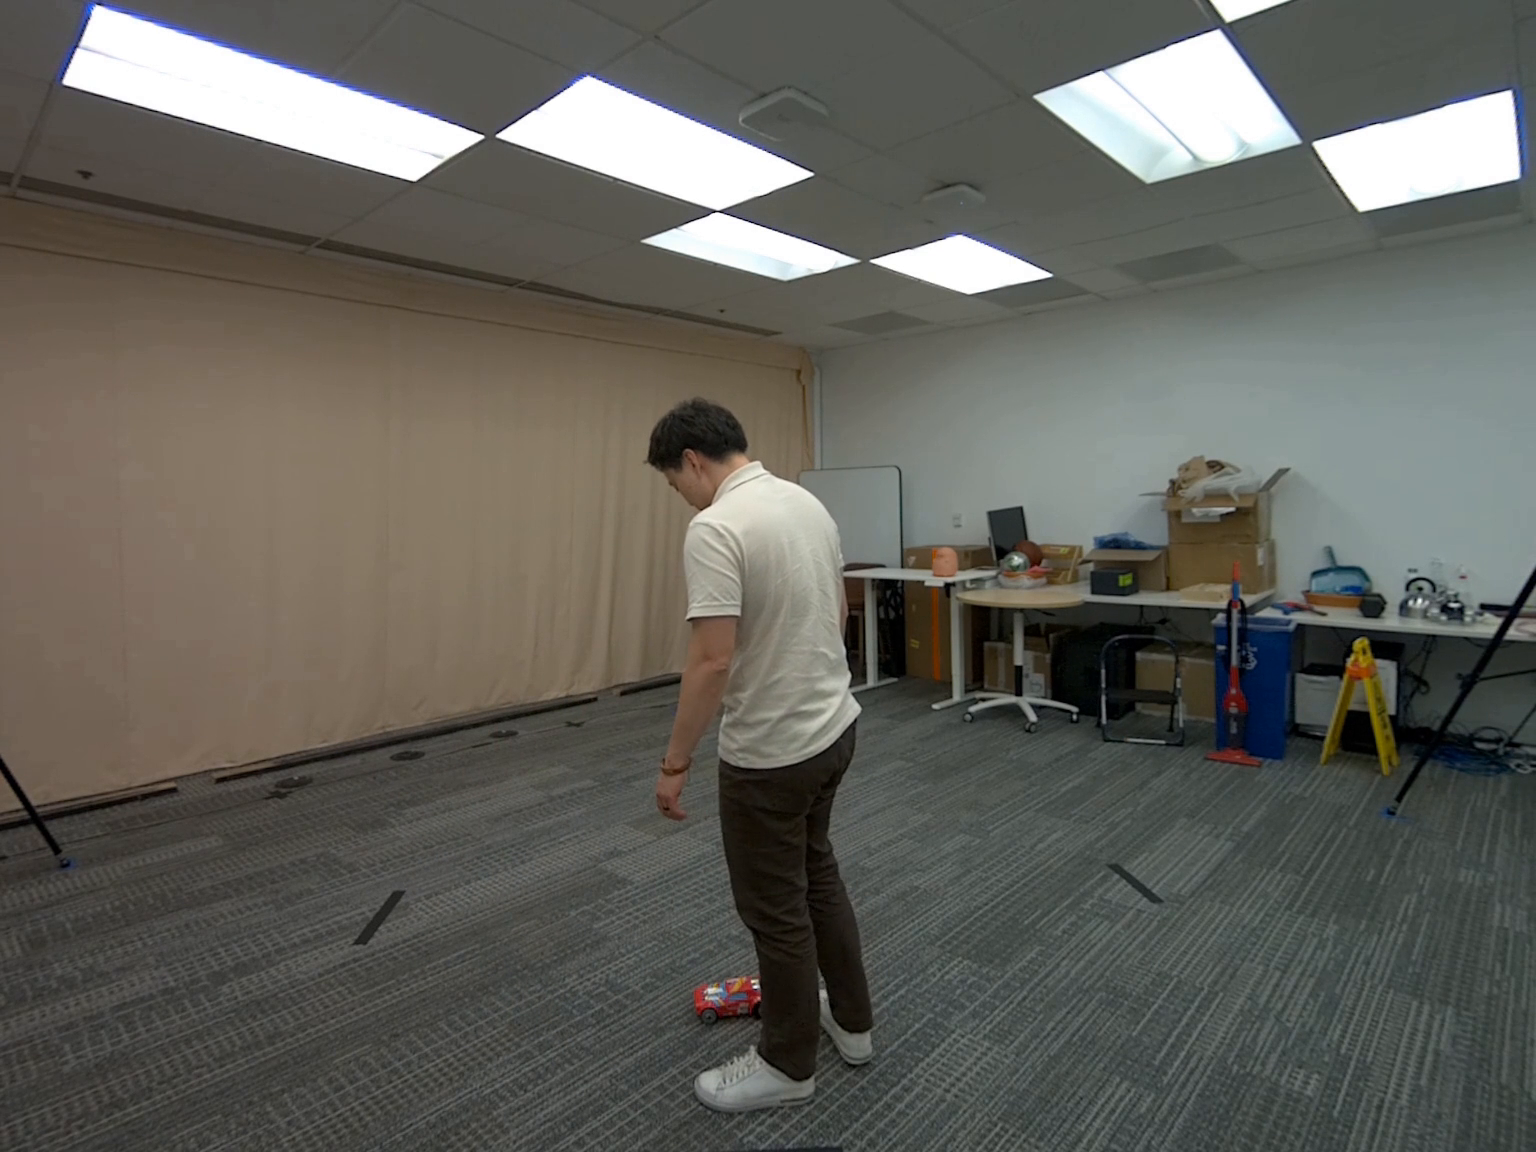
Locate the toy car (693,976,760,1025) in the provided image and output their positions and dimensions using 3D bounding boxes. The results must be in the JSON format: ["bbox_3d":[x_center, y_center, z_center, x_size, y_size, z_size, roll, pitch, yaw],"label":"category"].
[{"bbox_3d":[-0.072,1.170,2.323,0.253,0.083,0.132,-12,5,-7],"label":"toy car"}]
